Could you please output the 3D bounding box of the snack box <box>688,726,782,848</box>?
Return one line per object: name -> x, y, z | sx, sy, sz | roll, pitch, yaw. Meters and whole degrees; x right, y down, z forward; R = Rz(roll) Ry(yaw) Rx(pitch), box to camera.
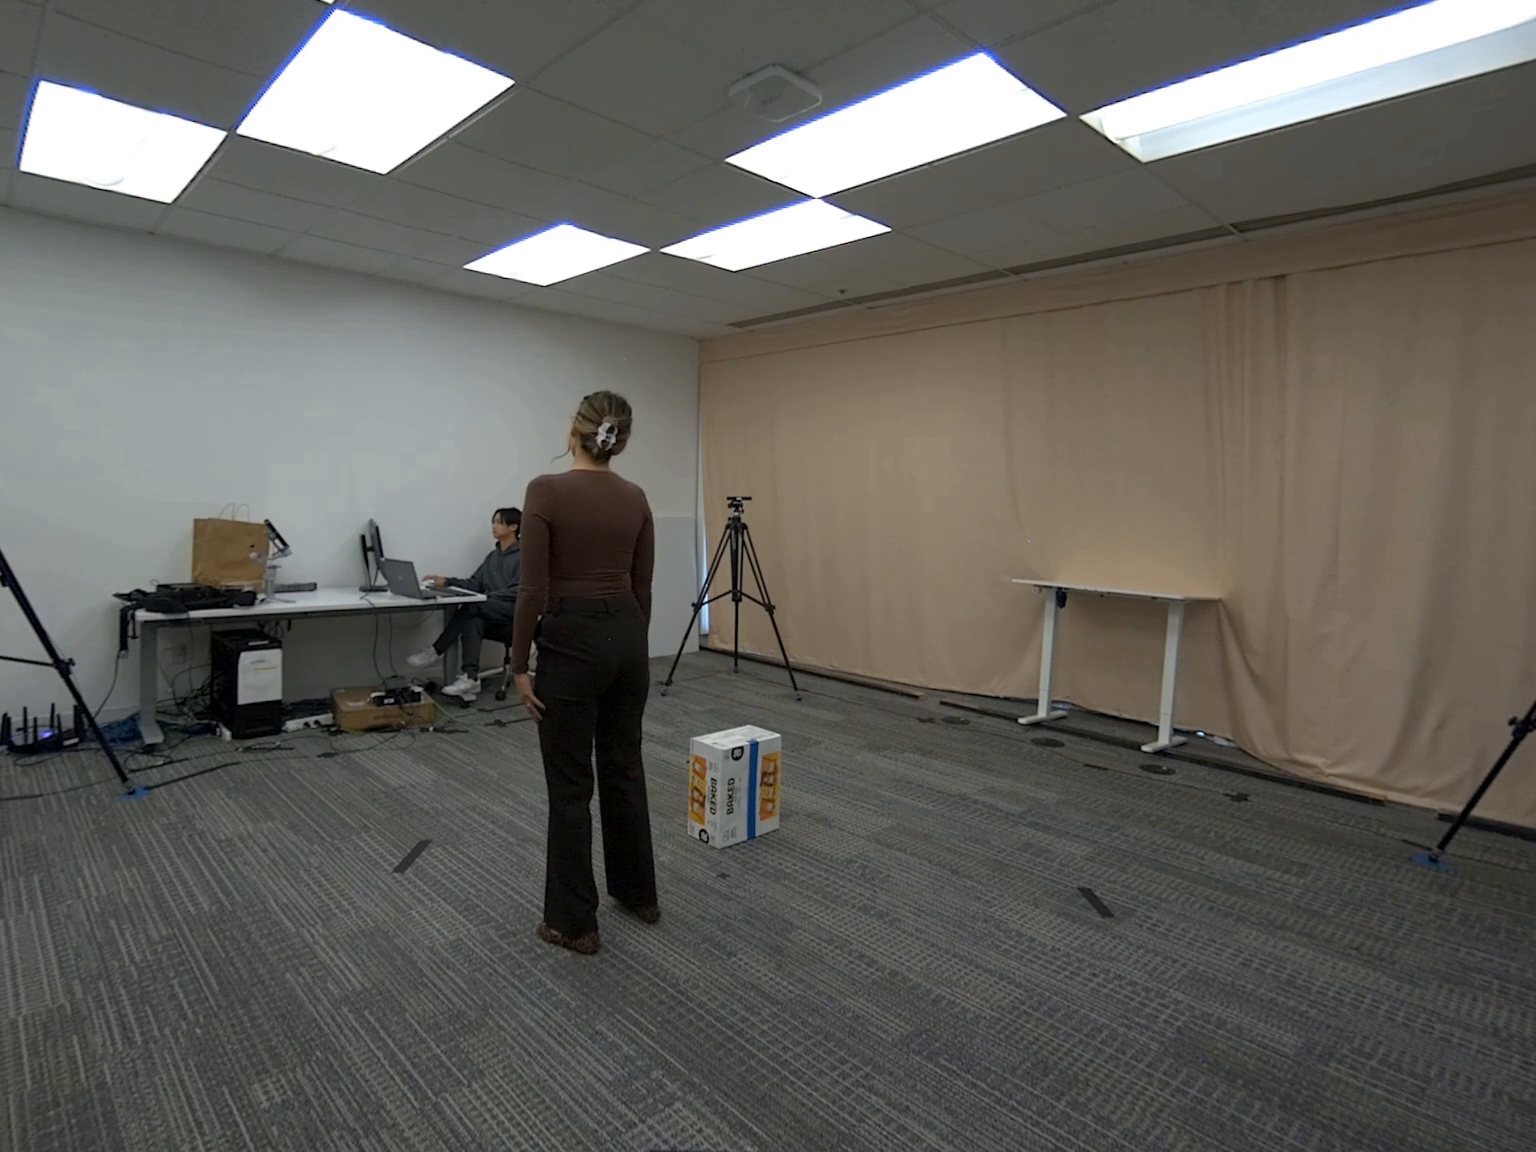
snack box -> -0.145, 0.867, 3.509 | 0.332, 0.404, 0.211 | -2, 5, -44
